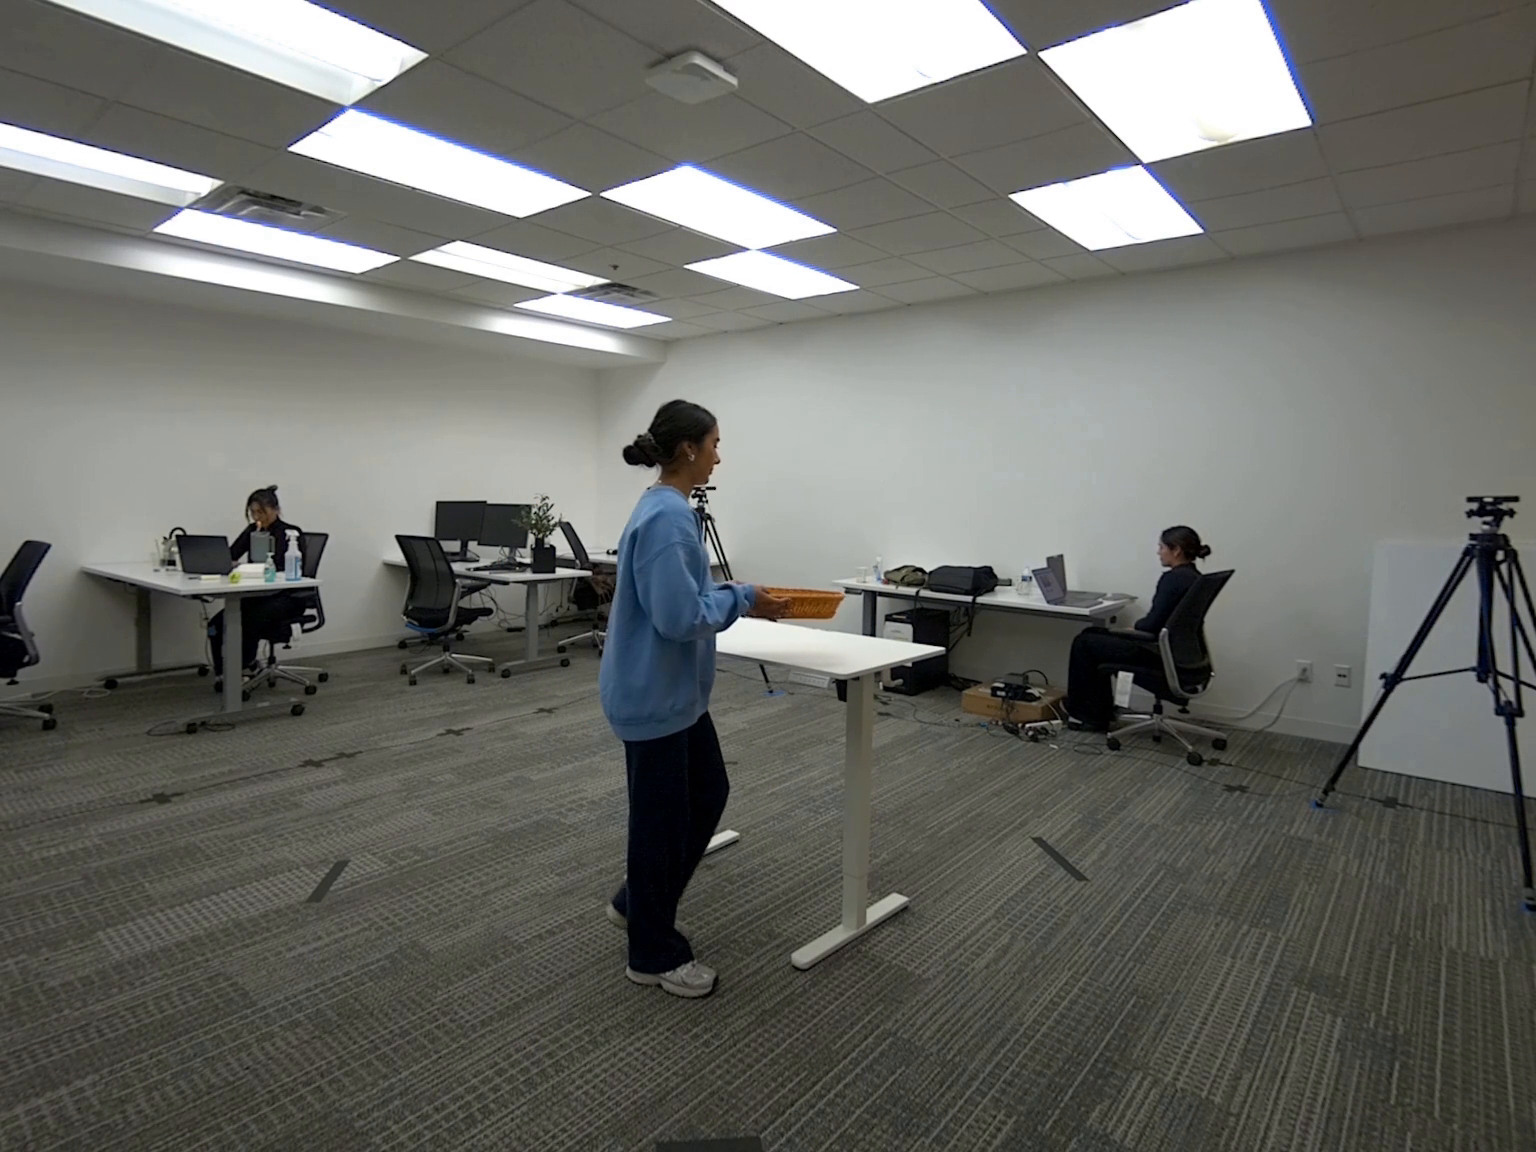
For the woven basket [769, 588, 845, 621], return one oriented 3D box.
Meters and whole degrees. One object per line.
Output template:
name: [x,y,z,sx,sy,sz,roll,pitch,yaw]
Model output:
woven basket: [0.039,0.091,2.479,0.343,0.073,0.258,1,3,-21]
